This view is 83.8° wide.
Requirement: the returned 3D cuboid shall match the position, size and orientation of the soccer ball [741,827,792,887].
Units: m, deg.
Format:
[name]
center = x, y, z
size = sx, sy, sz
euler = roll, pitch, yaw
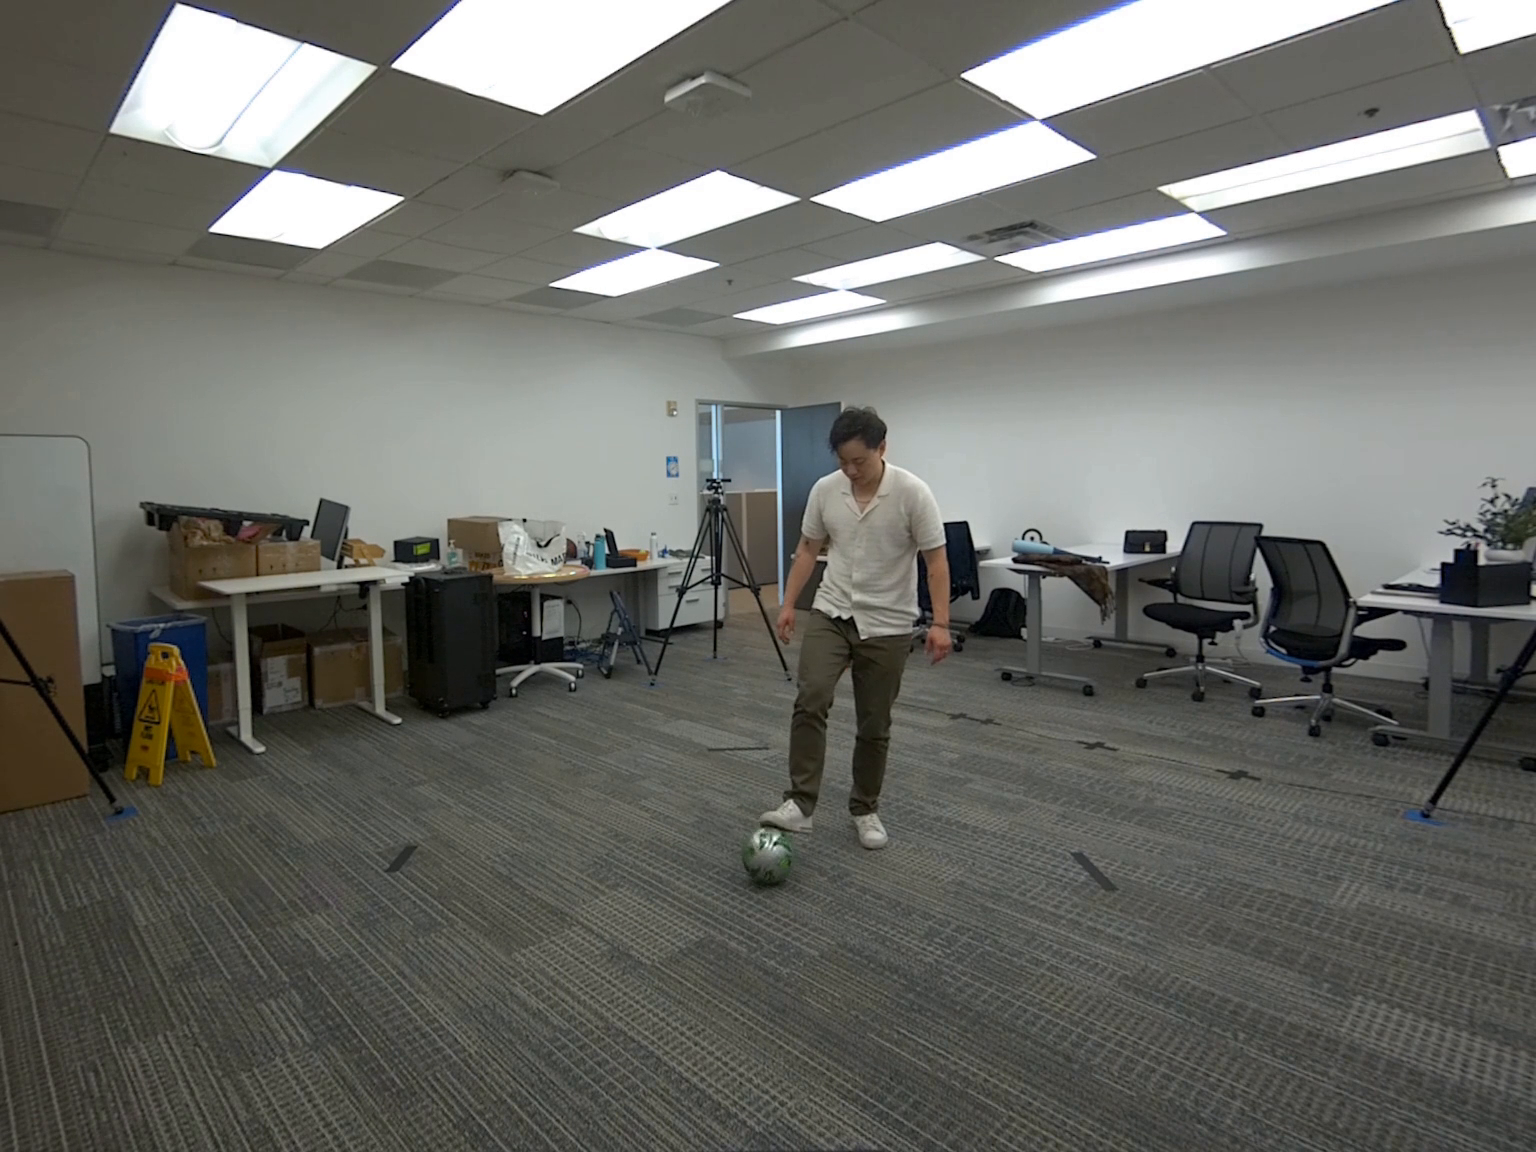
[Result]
[soccer ball]
center = 0.011, 0.964, 2.977
size = 0.187, 0.187, 0.188
euler = -1, 5, -2
